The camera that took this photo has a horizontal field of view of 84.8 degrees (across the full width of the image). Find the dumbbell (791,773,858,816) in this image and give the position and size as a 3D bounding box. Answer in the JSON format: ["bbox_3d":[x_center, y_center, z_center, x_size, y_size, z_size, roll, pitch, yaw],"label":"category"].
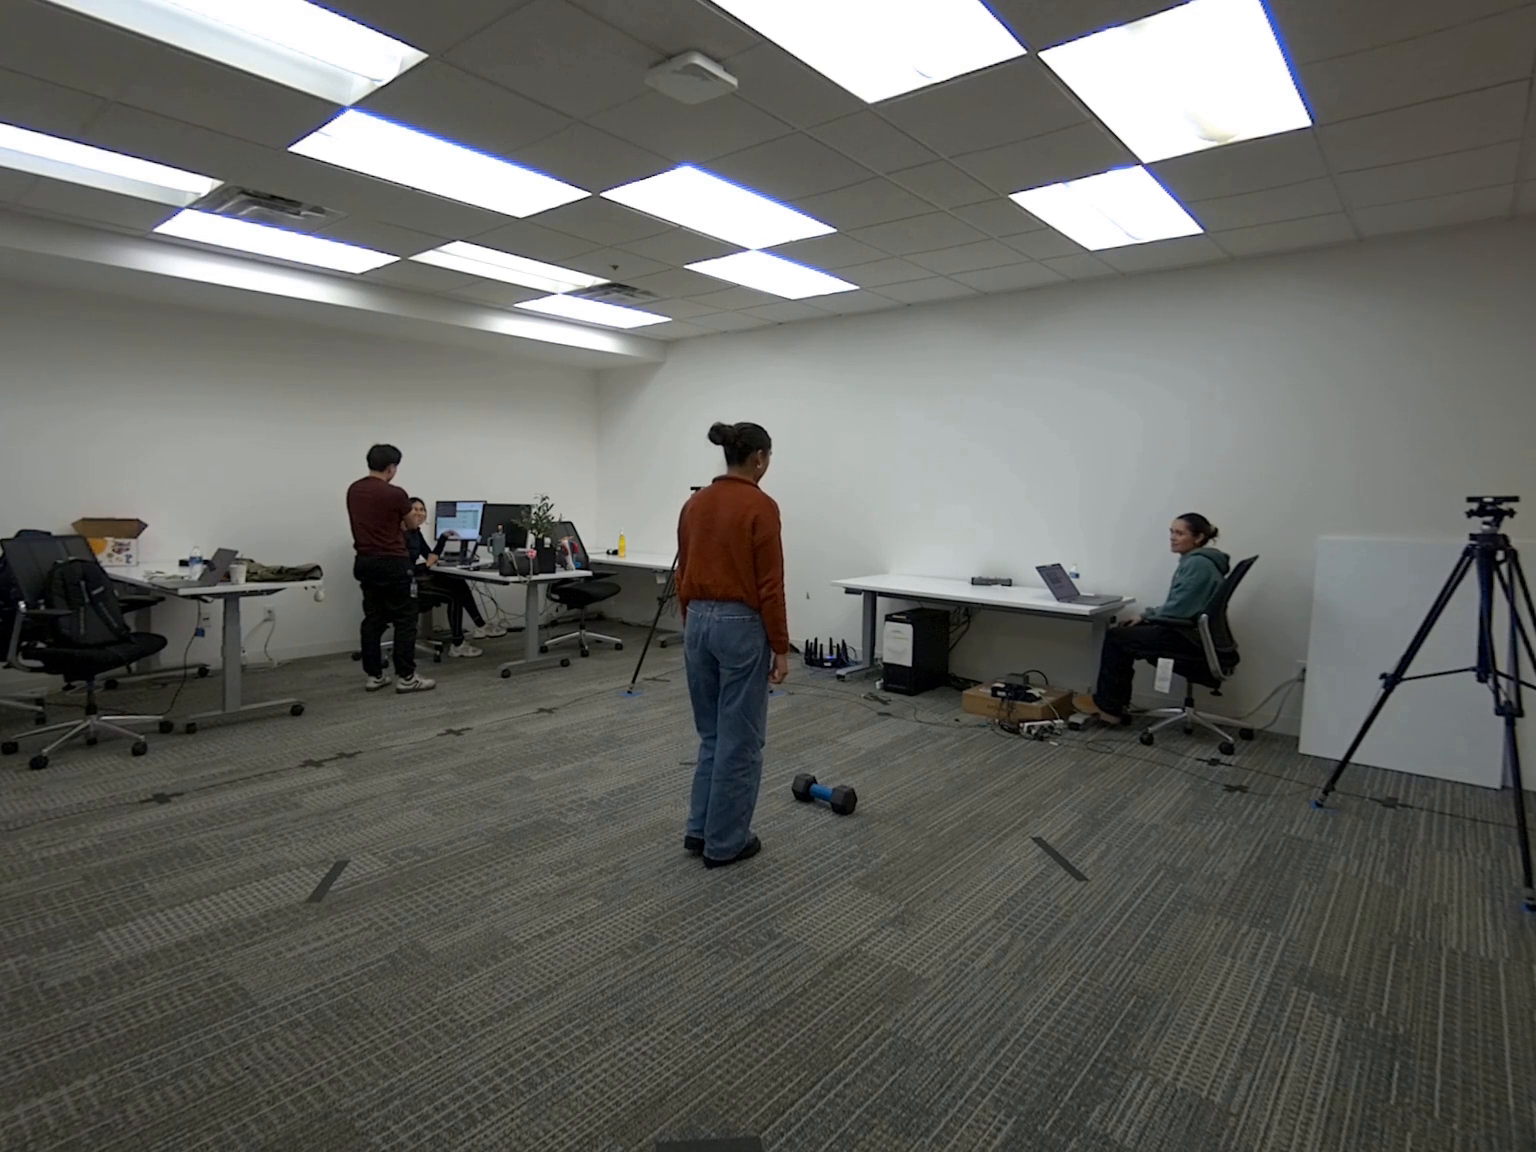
[{"bbox_3d":[0.240,0.956,3.754,0.304,0.119,0.108,6,36,43],"label":"dumbbell"}]
